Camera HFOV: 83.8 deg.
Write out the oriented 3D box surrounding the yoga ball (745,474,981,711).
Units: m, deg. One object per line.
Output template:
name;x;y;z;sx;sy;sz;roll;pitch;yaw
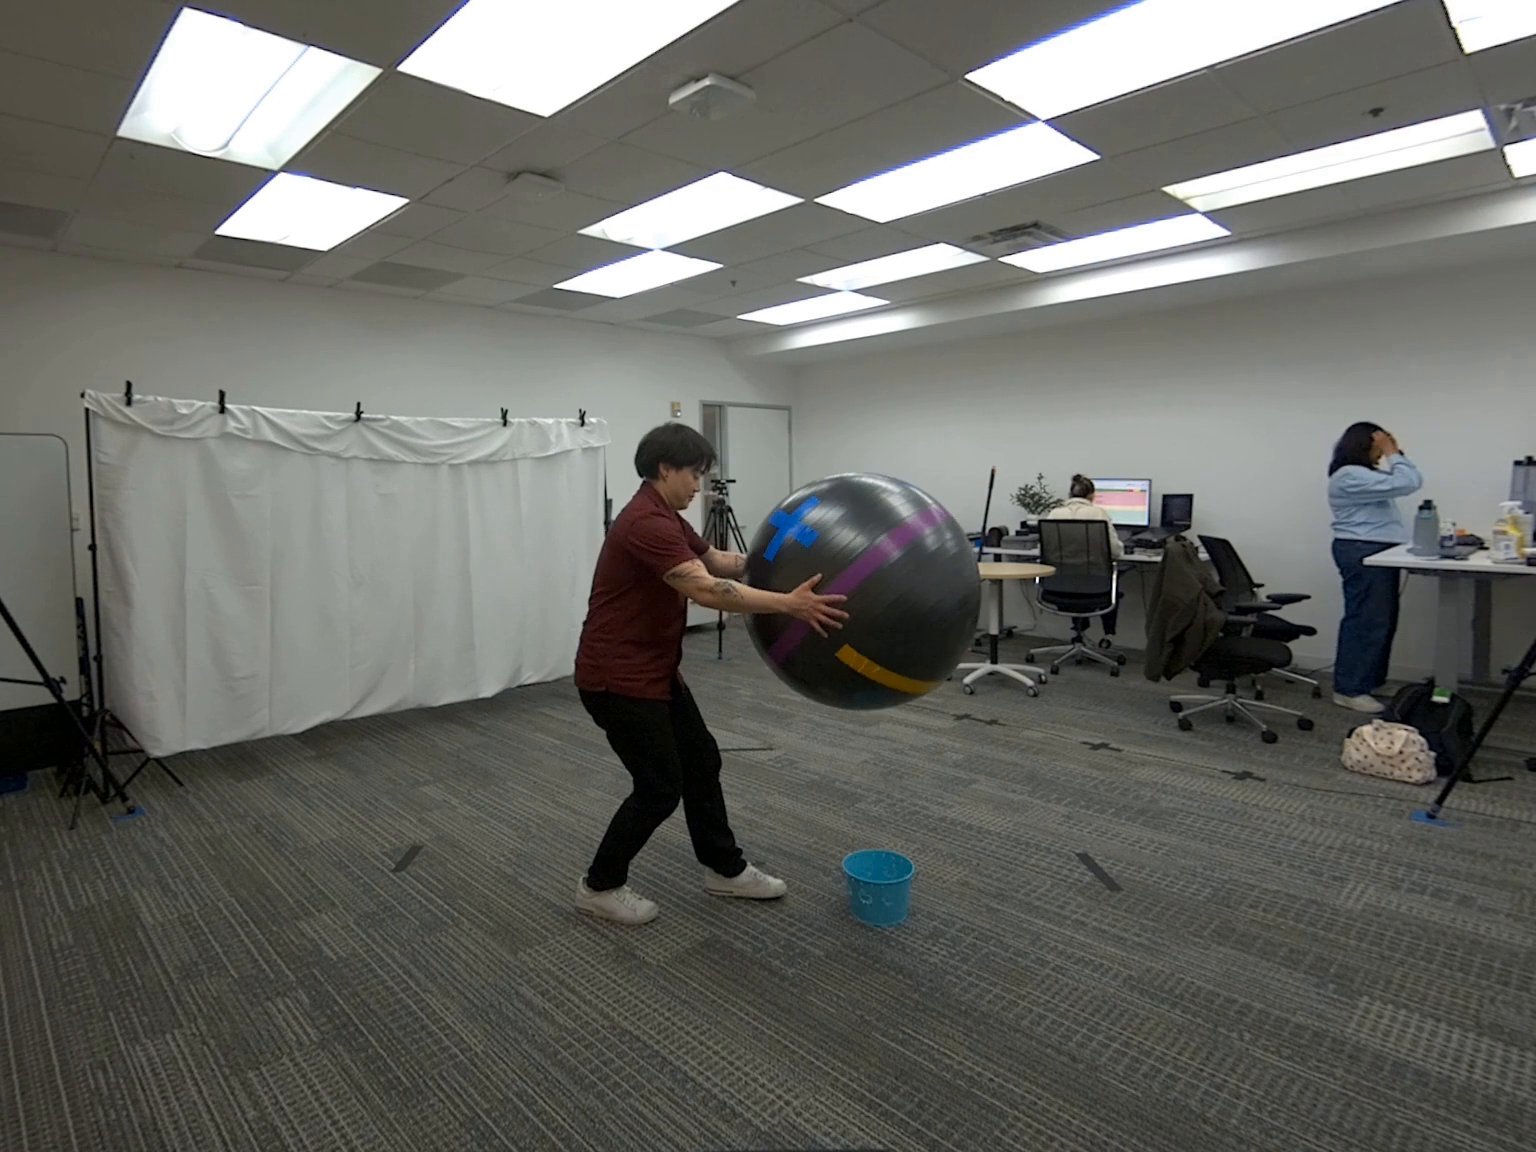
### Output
yoga ball;0.285;0.051;2.743;0.757;0.755;0.762;-1;5;-2
